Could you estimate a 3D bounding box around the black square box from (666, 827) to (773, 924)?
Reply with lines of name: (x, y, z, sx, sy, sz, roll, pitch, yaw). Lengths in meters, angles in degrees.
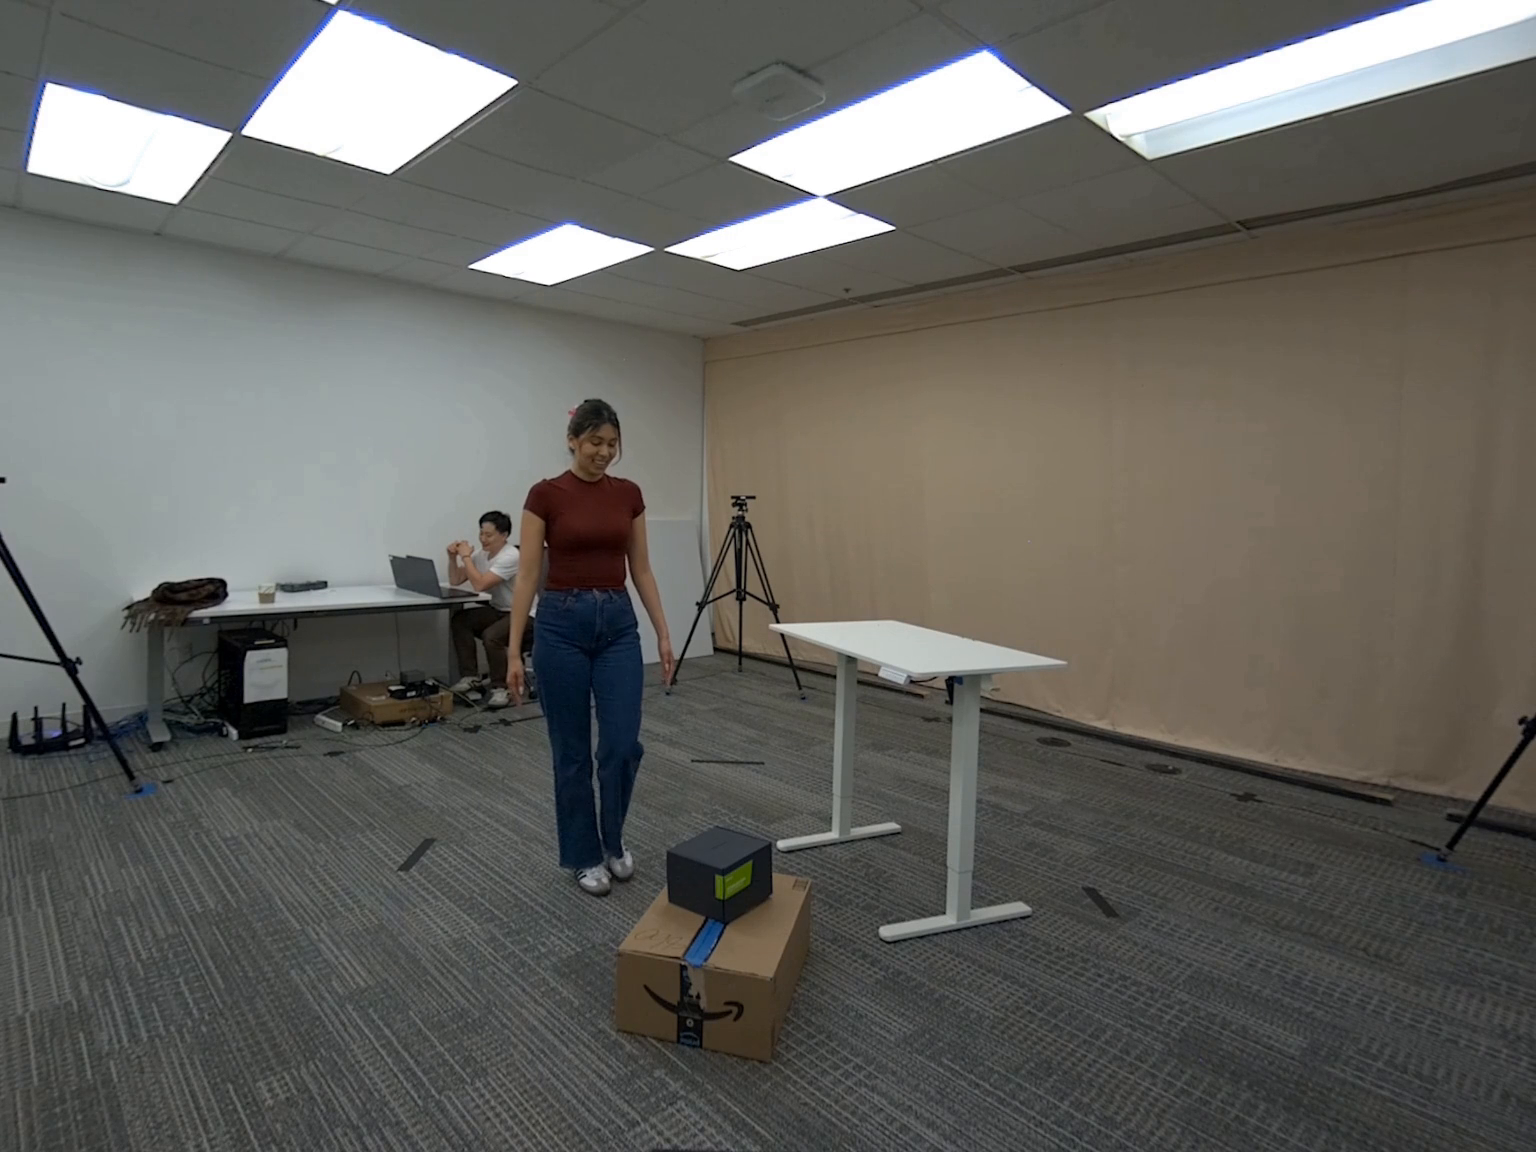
black square box: (-0.146, 0.859, 2.450, 0.222, 0.155, 0.223, 3, 6, 37)
